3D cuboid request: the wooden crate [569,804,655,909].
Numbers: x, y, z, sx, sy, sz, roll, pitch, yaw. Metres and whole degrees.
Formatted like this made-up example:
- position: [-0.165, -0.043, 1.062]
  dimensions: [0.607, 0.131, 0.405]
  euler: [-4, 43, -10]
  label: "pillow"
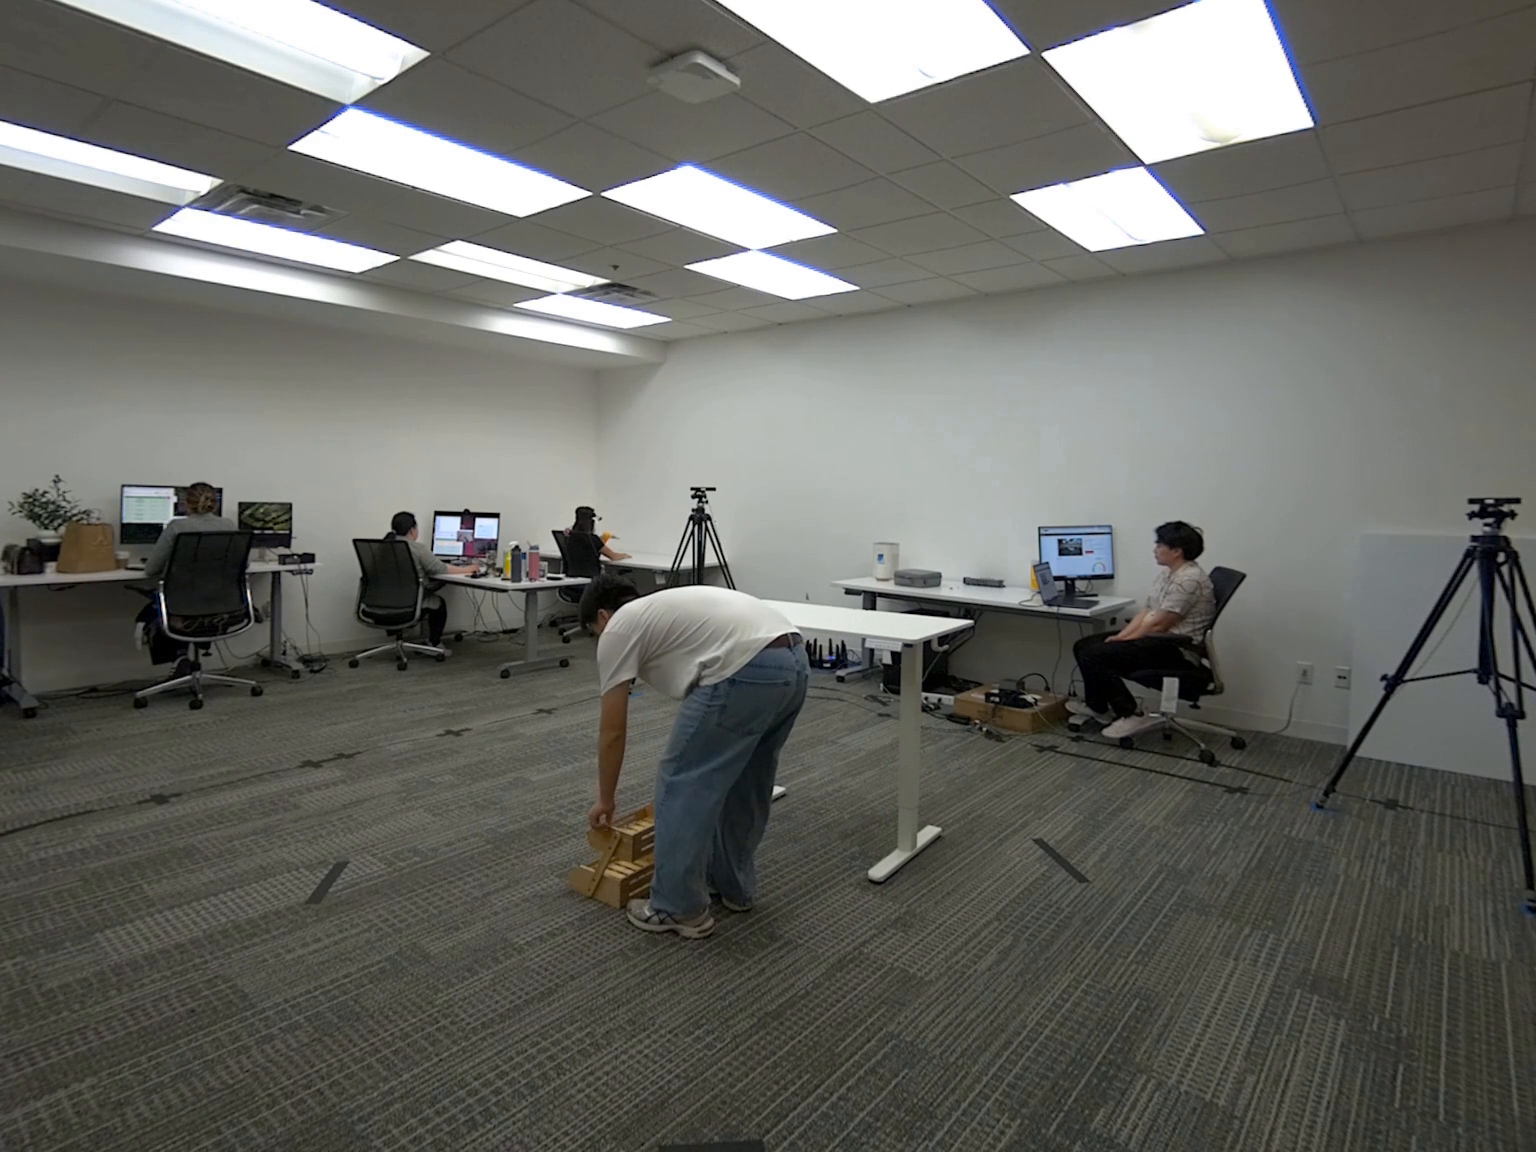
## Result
- position: [-0.496, 0.940, 2.964]
  dimensions: [0.311, 0.272, 0.316]
  euler: [4, 6, 33]
  label: "wooden crate"
